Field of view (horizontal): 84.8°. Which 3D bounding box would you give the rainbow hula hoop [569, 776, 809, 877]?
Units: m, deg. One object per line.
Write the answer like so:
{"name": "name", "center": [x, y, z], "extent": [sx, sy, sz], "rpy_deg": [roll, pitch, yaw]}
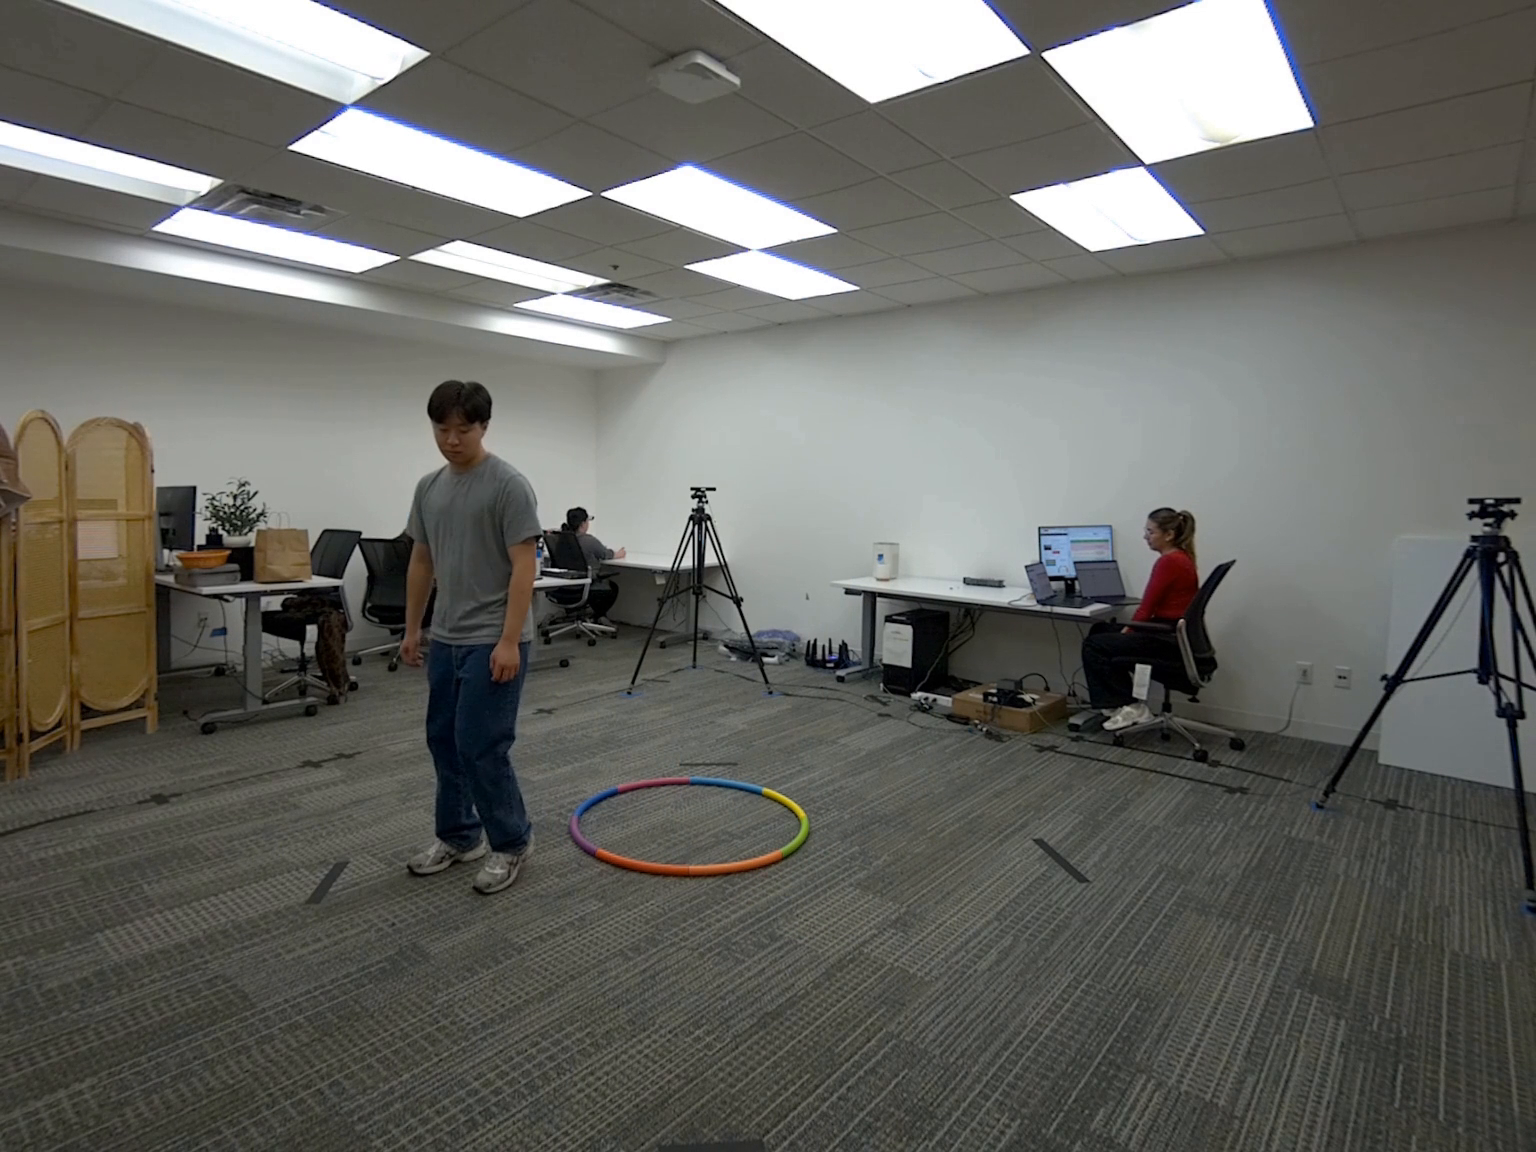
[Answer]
{"name": "rainbow hula hoop", "center": [-0.334, 0.993, 3.514], "extent": [0.978, 0.035, 0.984], "rpy_deg": [1, 6, -2]}
